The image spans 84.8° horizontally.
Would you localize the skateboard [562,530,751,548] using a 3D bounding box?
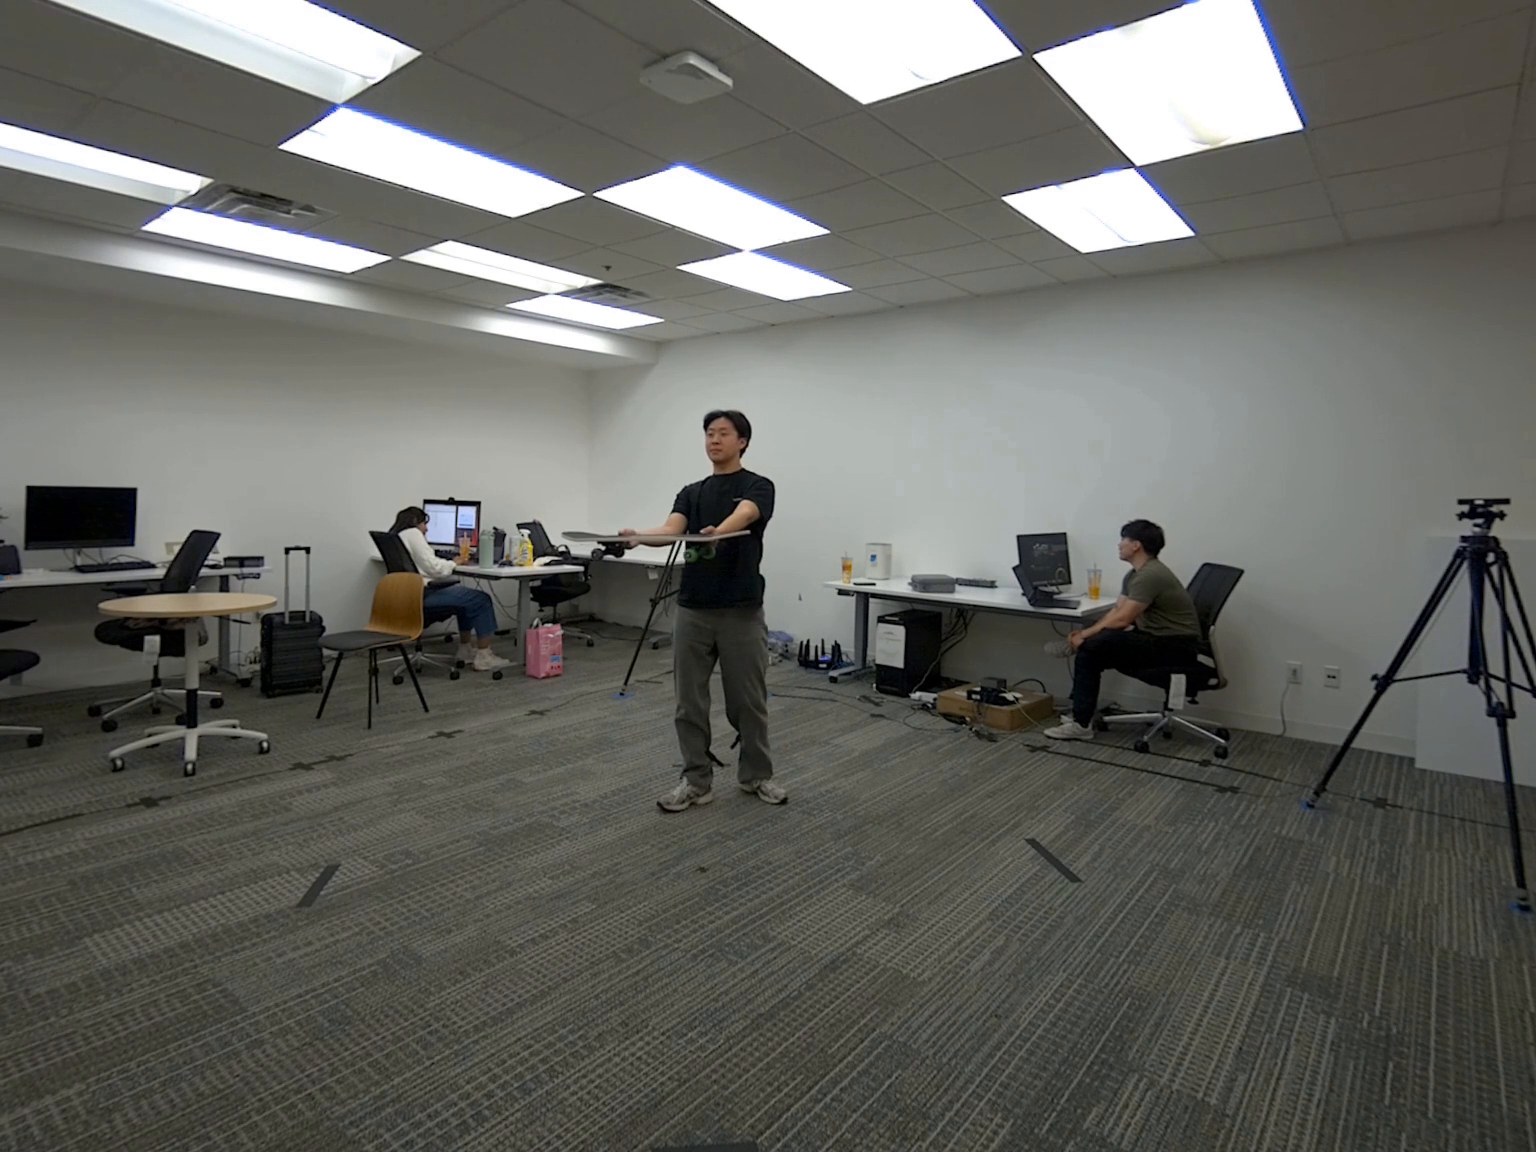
[{"bbox_3d":[-0.456,-0.115,3.237,0.805,0.110,0.189,1,6,25],"label":"skateboard"}]
